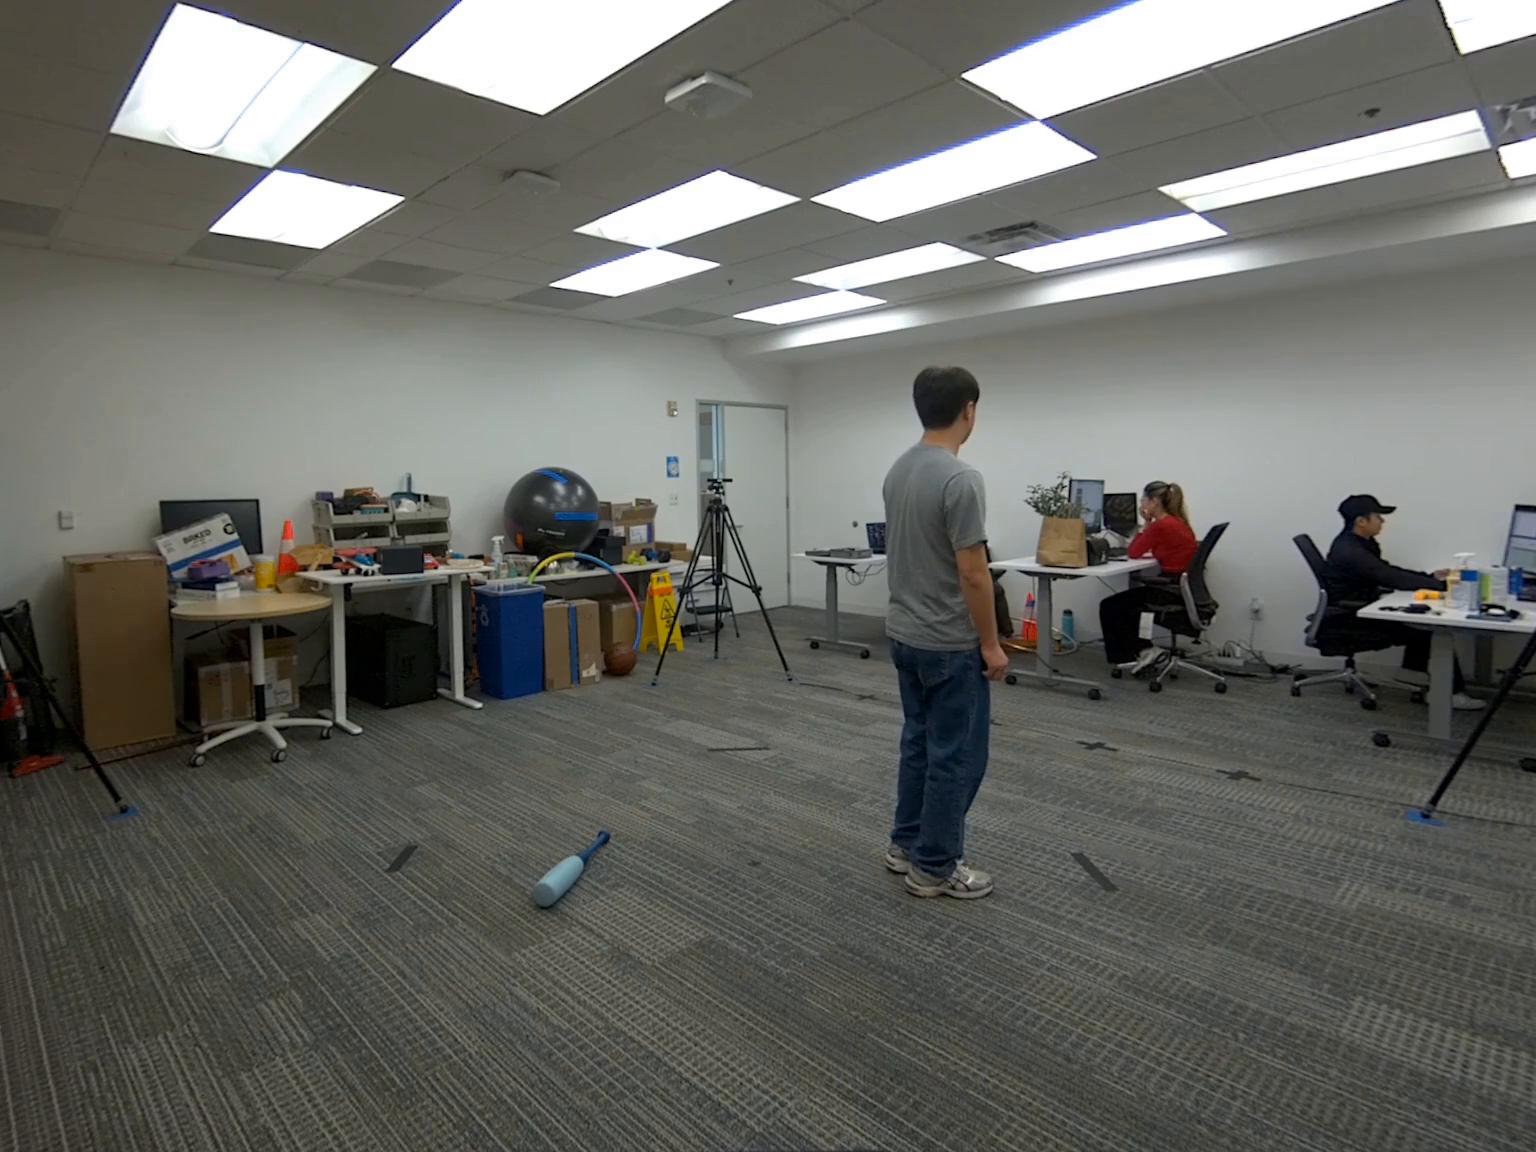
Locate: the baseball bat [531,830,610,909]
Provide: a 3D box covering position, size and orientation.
[{"bbox_3d":[-0.675,1.022,3.051,0.090,0.089,0.538,0,4,10],"label":"baseball bat"}]
